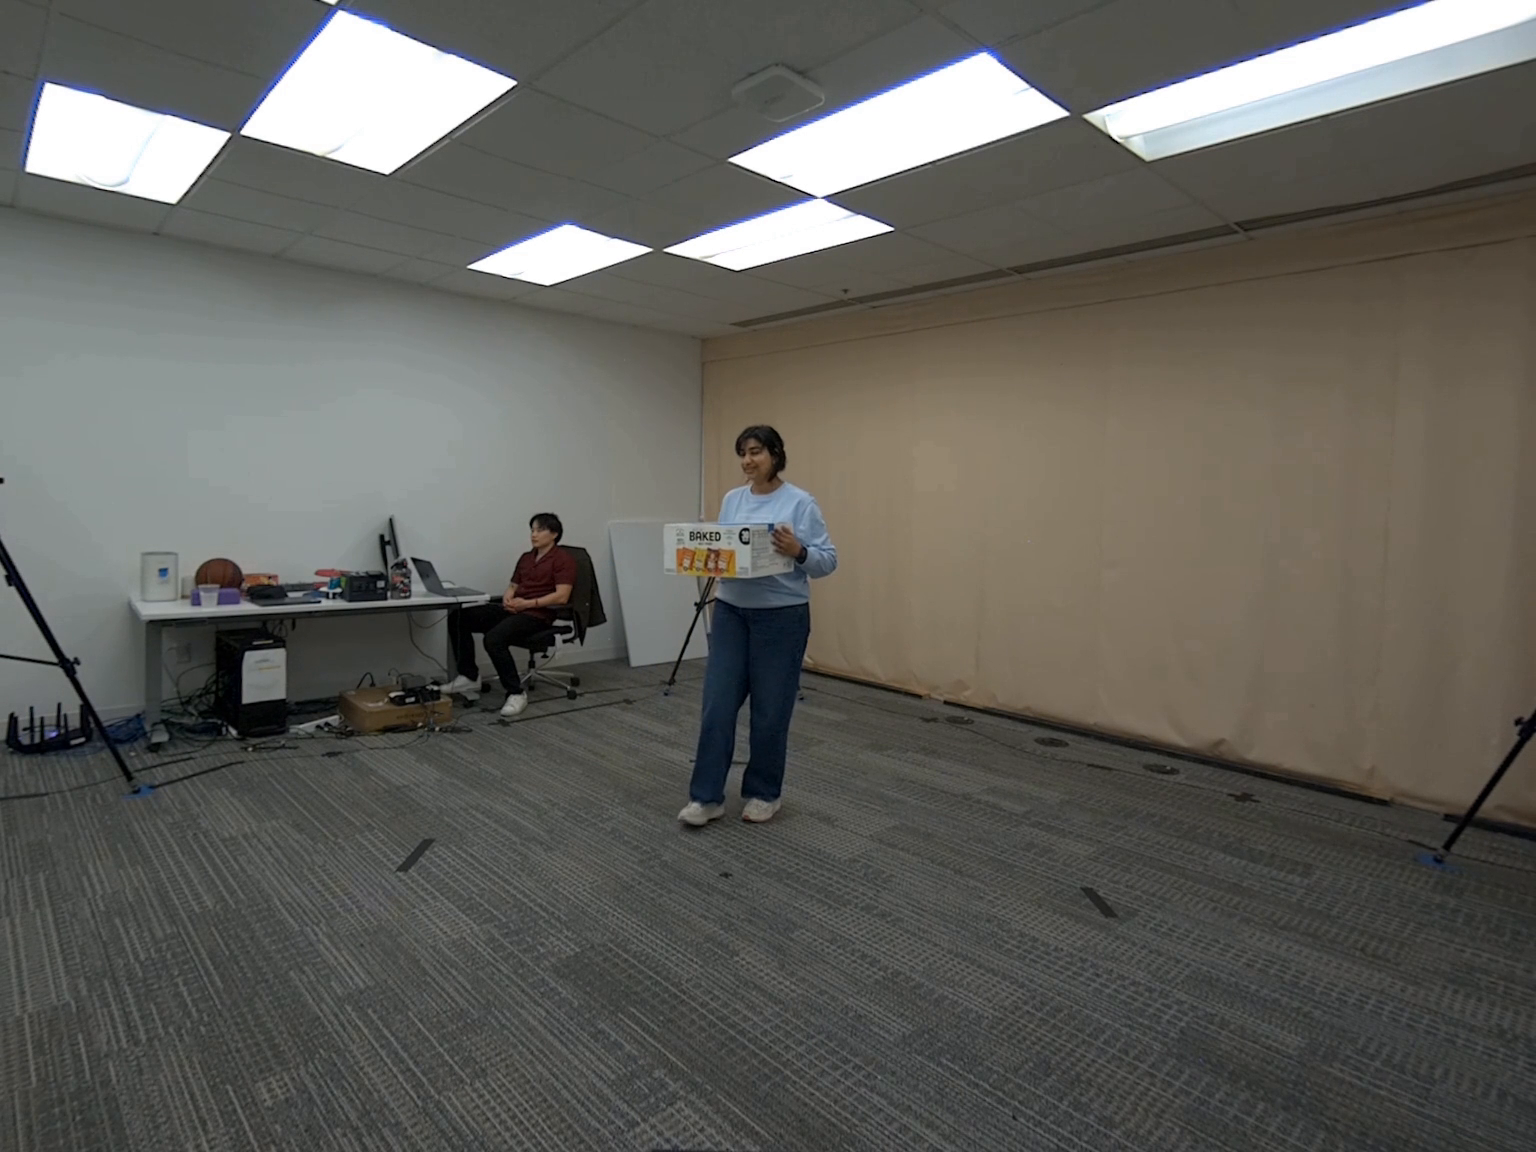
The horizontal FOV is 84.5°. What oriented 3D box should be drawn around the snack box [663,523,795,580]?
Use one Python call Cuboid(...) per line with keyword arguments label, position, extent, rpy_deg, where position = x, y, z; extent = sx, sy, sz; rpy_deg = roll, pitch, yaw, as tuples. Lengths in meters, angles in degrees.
Cuboid(label="snack box", position=(-0.166, -0.110, 3.392), extent=(0.414, 0.205, 0.334), rpy_deg=(2, 5, 31))
